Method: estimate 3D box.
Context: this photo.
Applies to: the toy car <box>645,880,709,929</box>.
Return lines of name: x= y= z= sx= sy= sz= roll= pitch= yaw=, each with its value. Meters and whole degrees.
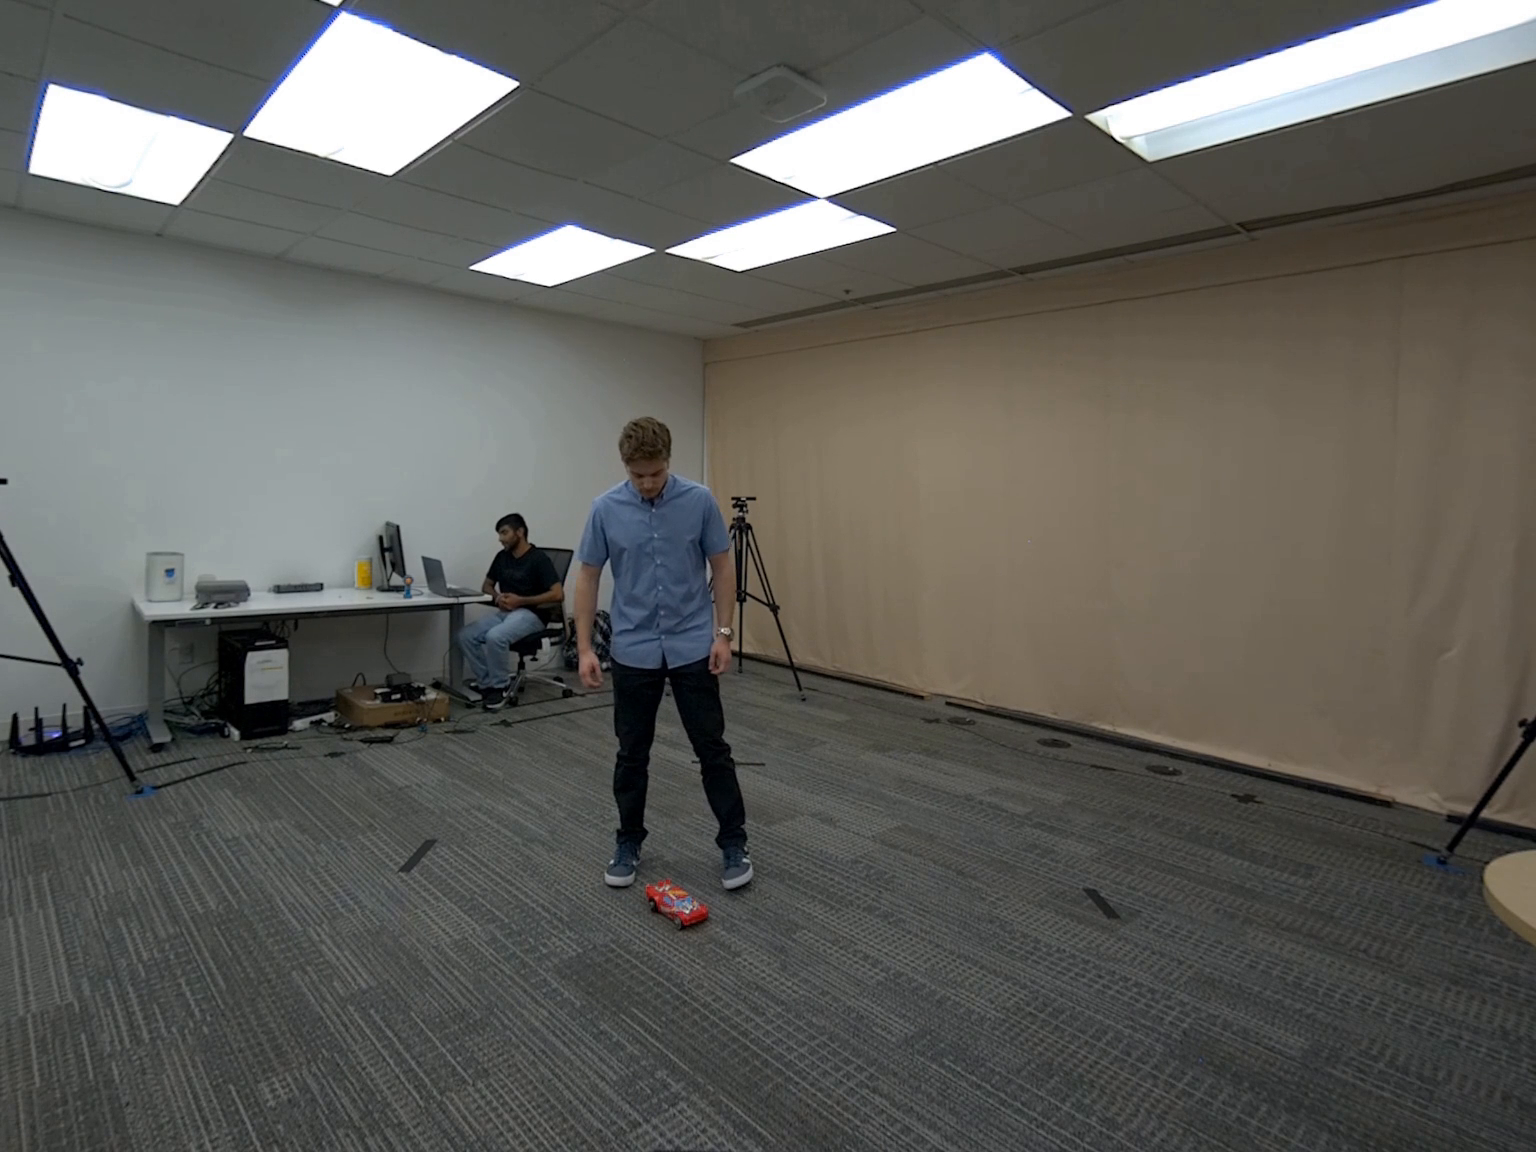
toy car: x=-0.320 y=1.098 z=2.814 sx=0.127 sy=0.082 sz=0.262 roll=-4 pitch=18 yaw=-39
